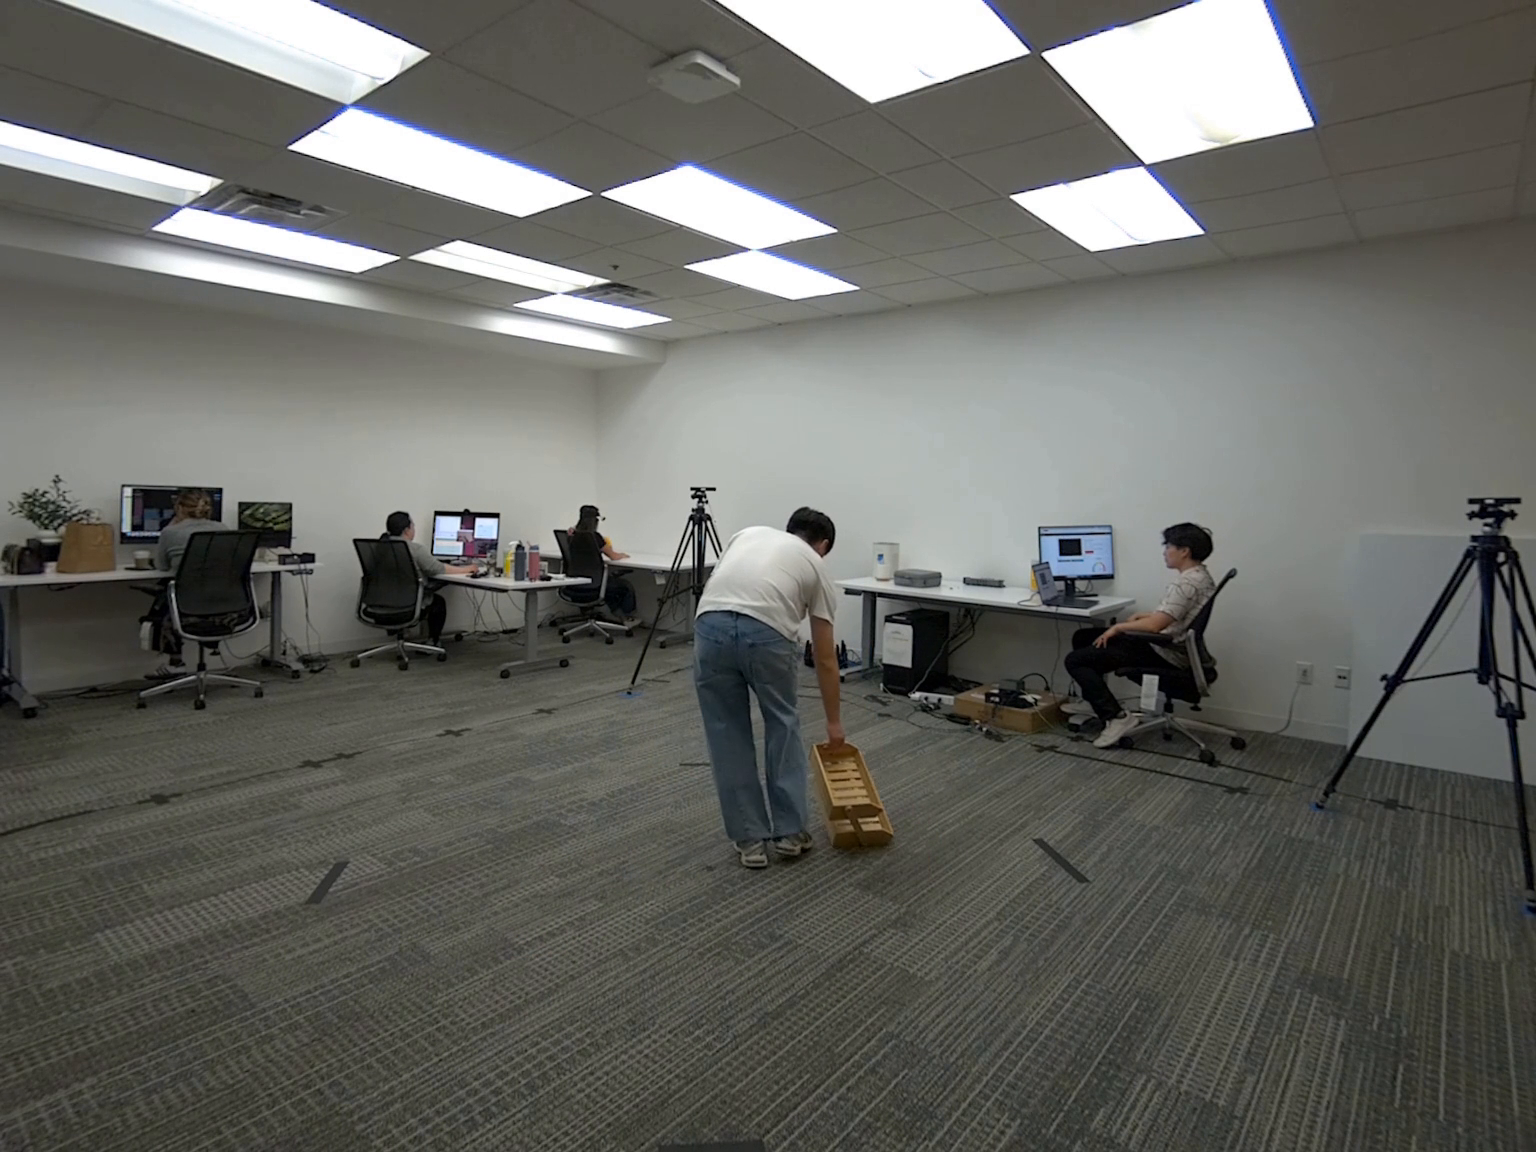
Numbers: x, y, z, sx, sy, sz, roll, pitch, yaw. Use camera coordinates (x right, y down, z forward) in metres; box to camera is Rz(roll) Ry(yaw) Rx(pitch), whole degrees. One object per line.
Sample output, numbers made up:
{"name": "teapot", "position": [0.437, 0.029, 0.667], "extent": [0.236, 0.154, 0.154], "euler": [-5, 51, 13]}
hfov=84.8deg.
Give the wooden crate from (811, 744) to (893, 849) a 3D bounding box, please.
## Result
{"name": "wooden crate", "position": [0.334, 0.859, 3.376], "extent": [0.299, 0.267, 0.336], "euler": [-2, 37, -11]}
